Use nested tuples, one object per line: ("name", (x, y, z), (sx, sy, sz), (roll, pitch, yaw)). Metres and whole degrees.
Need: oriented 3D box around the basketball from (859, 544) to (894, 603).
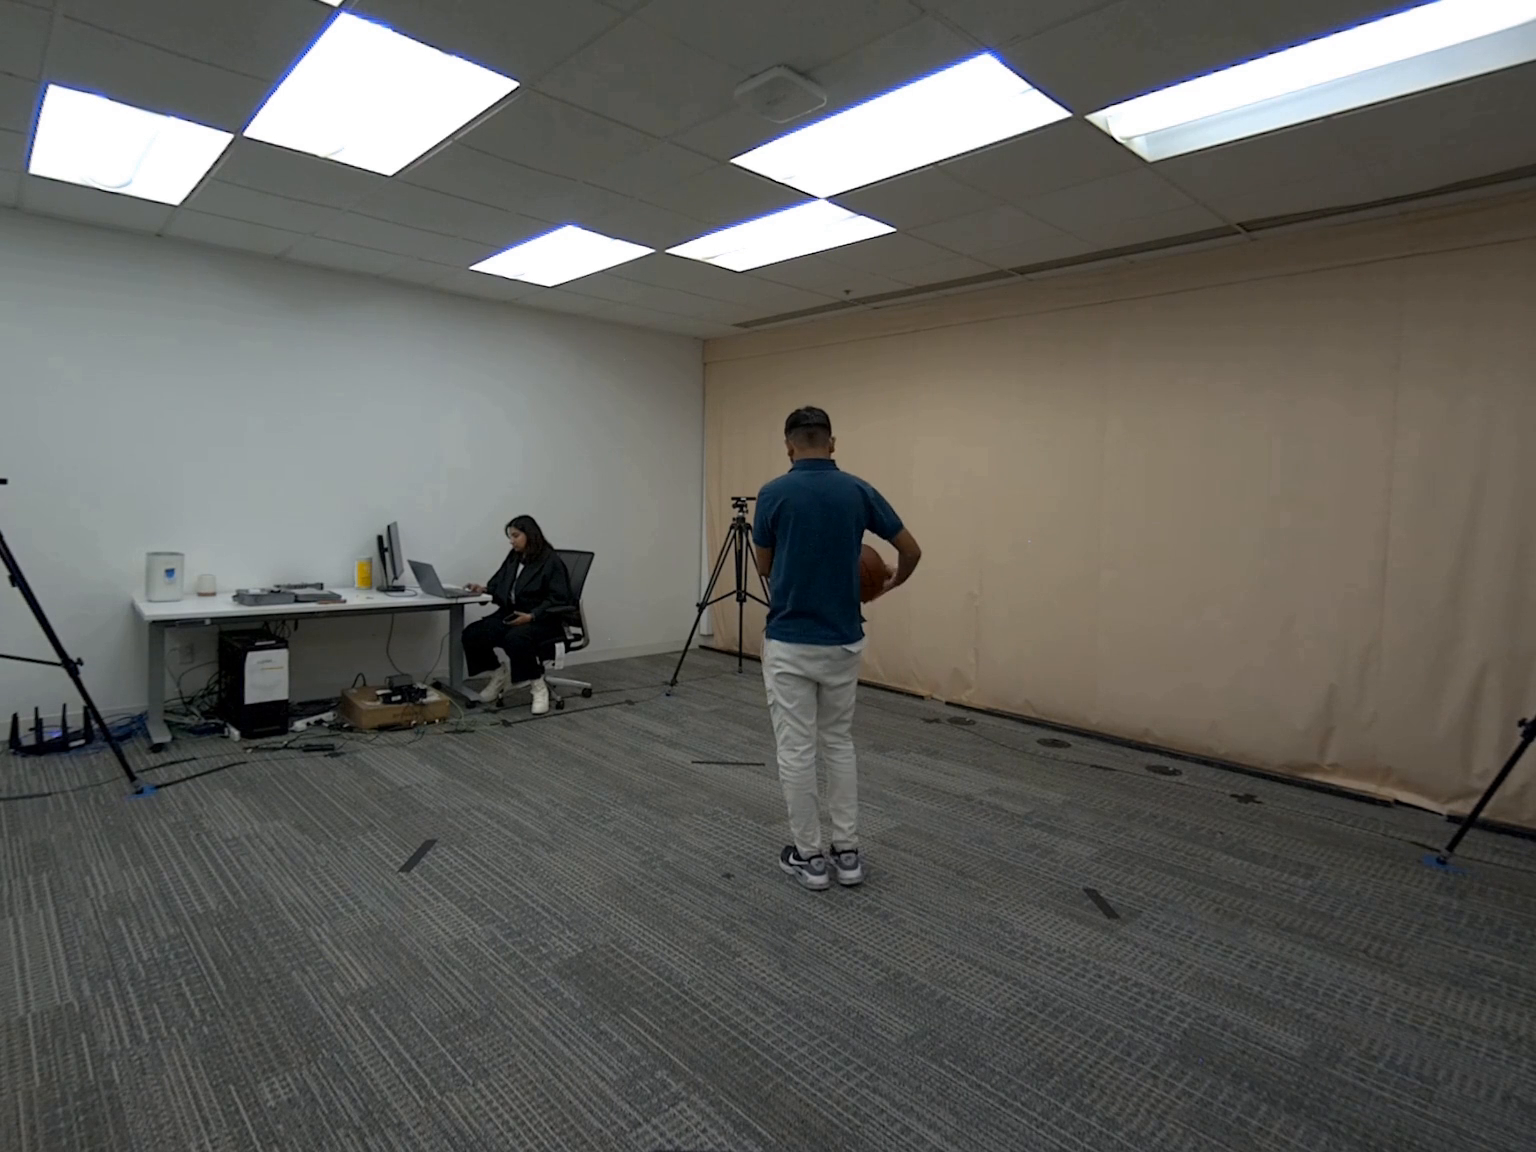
("basketball", (0.326, -0.011, 3.320), (0.236, 0.235, 0.237), (1, 4, -1))
